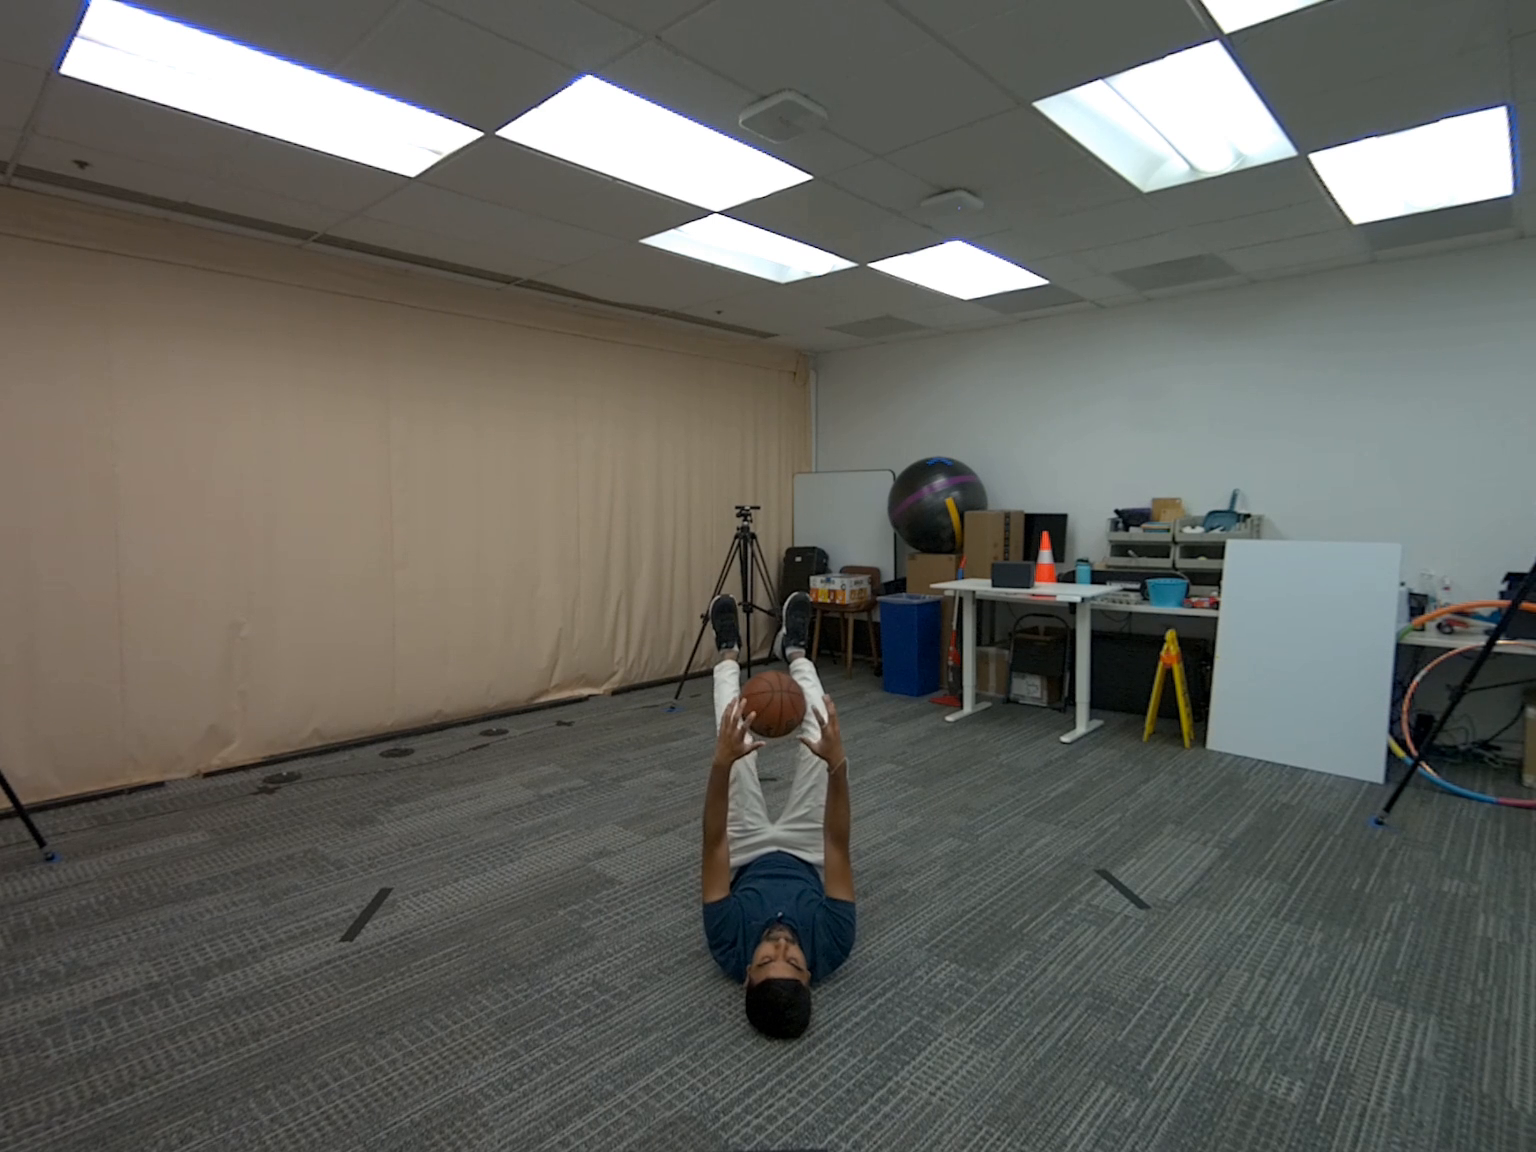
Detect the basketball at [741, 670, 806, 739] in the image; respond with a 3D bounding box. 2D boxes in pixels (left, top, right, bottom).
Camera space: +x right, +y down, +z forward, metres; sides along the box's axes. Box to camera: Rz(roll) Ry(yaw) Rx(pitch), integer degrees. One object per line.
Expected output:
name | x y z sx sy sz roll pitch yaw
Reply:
basketball | 0.012 0.461 3.026 0.236 0.235 0.237 0 4 -2
